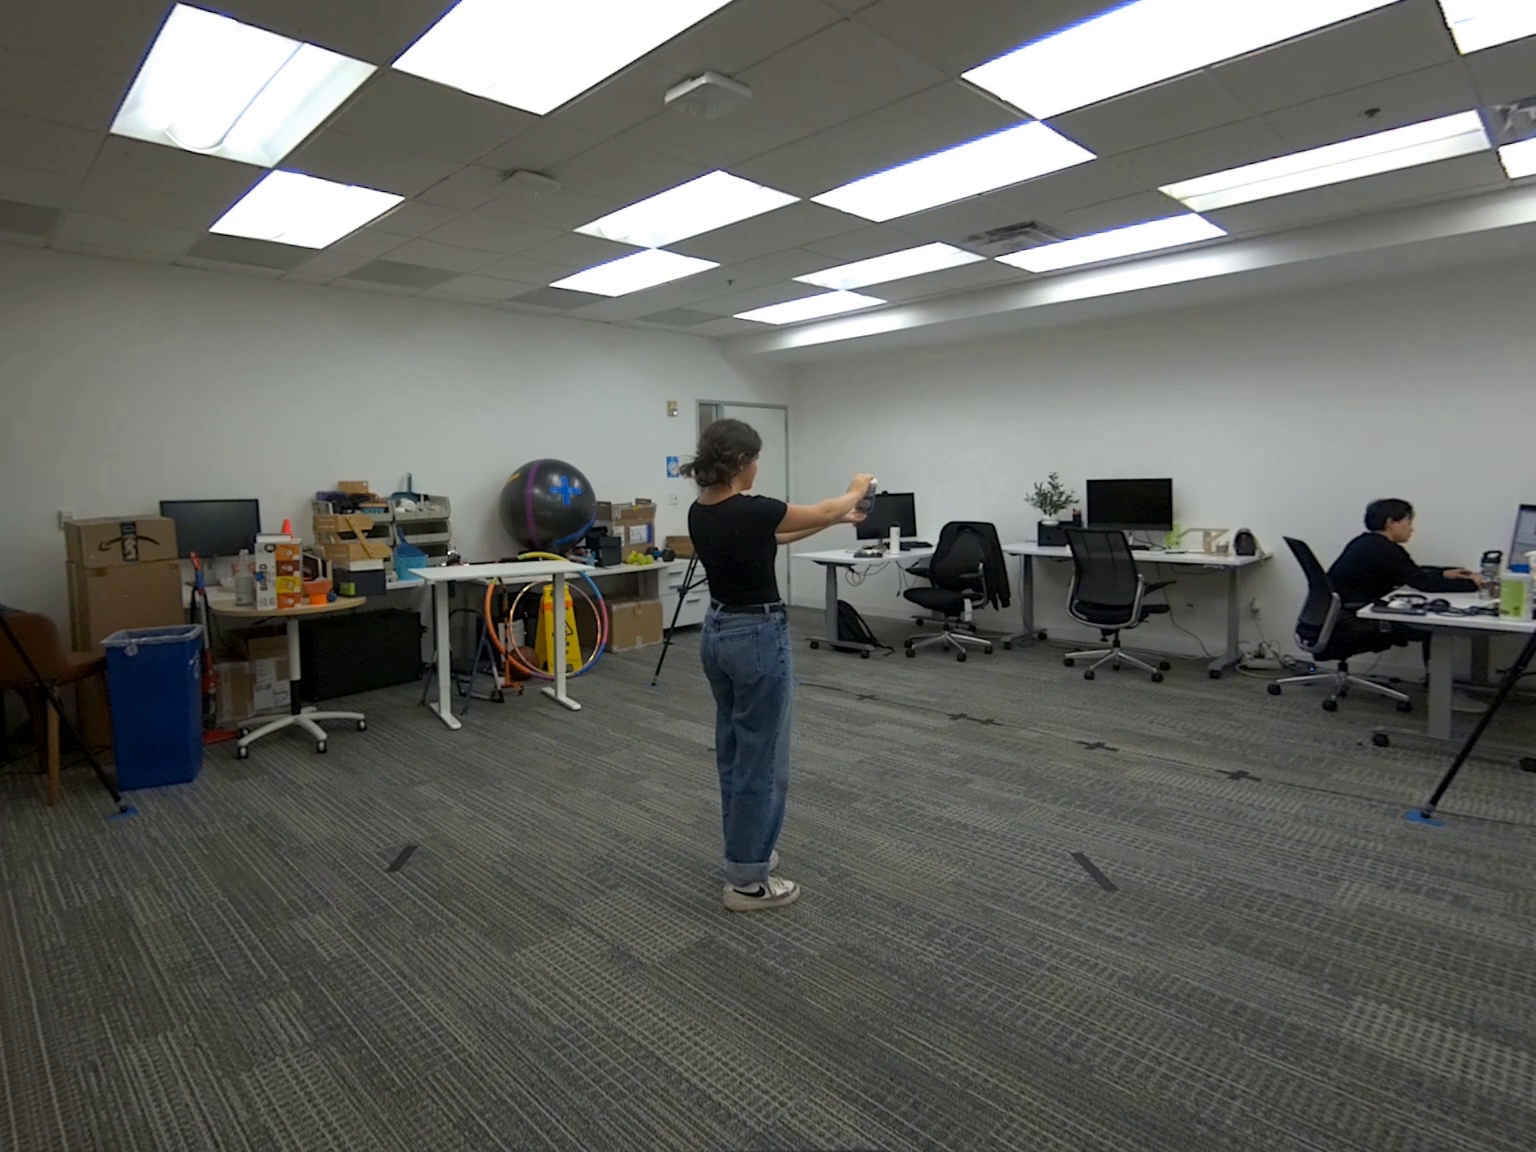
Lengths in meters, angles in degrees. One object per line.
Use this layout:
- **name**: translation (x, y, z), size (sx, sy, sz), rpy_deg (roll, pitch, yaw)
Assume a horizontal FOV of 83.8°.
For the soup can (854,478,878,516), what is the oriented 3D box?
- **soup can**: translation (0.364, -0.302, 3.152), size (0.067, 0.119, 0.068), rpy_deg (3, 23, -3)
